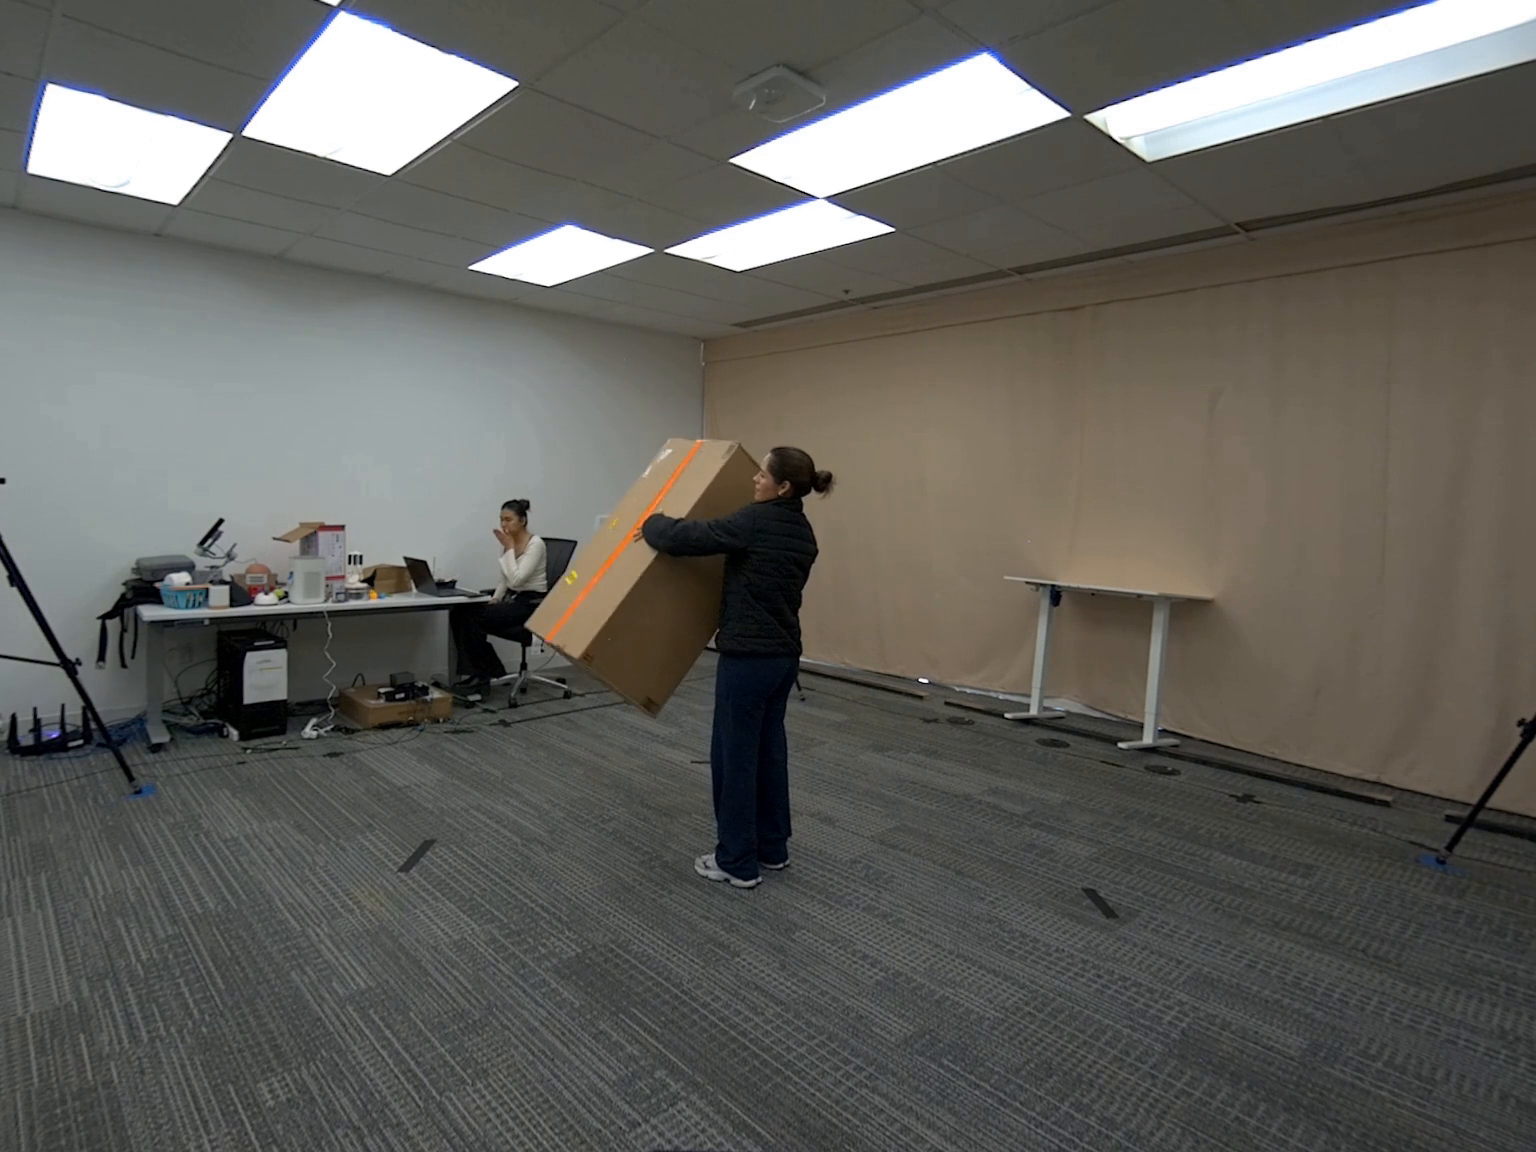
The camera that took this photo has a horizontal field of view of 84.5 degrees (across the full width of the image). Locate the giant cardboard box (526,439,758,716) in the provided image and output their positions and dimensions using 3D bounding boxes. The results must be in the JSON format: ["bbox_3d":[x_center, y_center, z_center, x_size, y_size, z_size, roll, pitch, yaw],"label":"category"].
[{"bbox_3d":[-0.429,-0.038,3.419,0.414,1.028,0.593,44,-17,-31],"label":"giant cardboard box"}]
